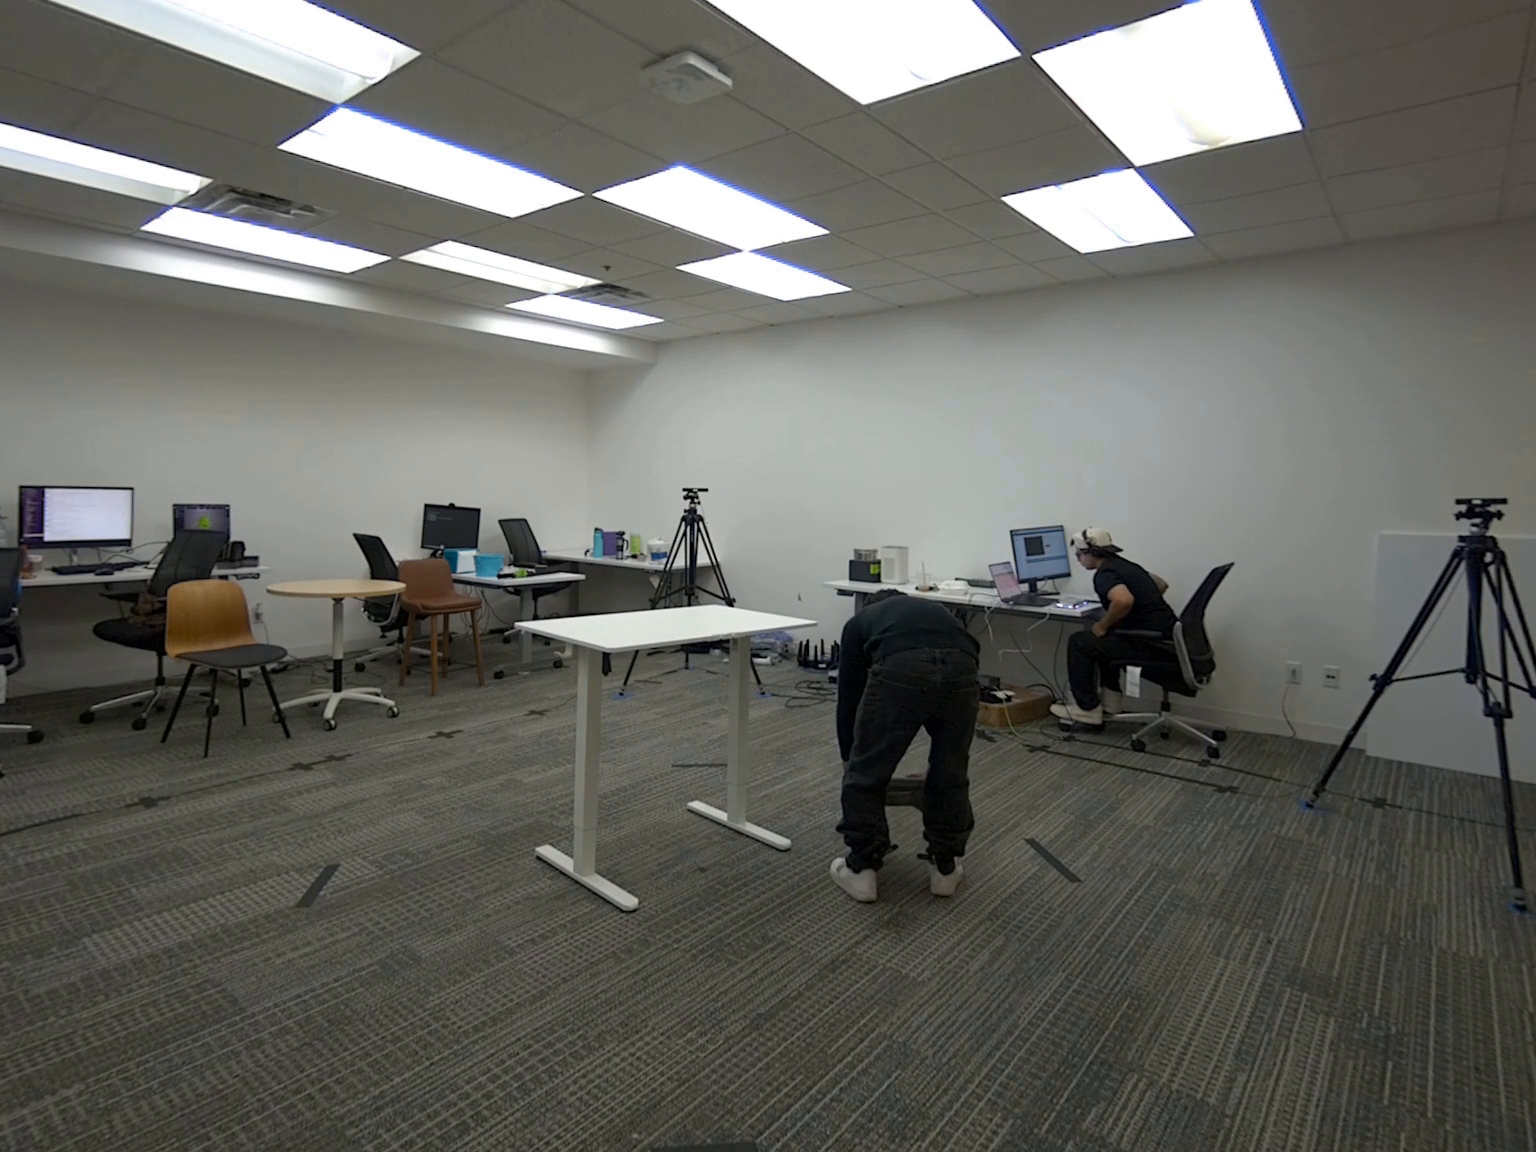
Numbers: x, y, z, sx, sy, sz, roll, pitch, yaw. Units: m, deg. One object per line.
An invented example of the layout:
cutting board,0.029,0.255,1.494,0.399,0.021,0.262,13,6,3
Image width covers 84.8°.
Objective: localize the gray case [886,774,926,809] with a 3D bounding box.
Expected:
gray case,0.449,0.800,3.200,0.257,0.105,0.258,1,-12,-1
